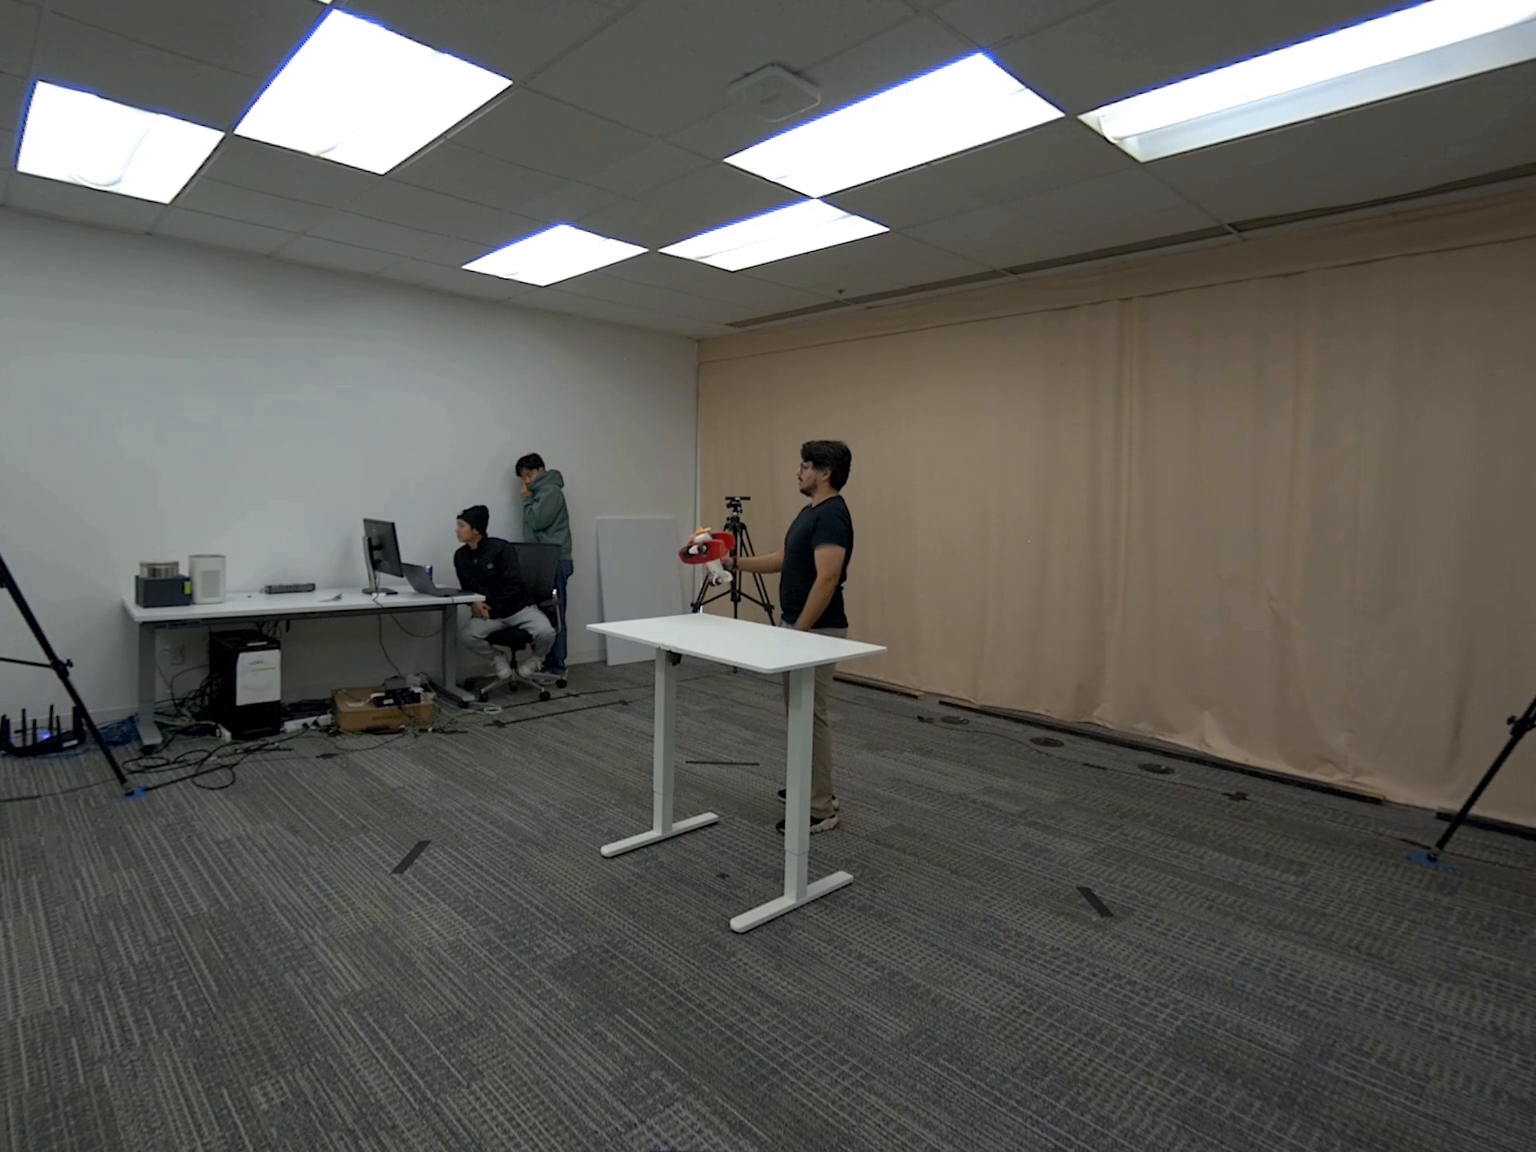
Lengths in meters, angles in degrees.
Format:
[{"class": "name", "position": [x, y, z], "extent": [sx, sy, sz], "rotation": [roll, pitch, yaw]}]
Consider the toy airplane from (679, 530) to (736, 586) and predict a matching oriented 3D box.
[{"class": "toy airplane", "position": [-0.279, -0.079, 3.680], "extent": [0.255, 0.253, 0.158], "rotation": [12, 44, 17]}]
